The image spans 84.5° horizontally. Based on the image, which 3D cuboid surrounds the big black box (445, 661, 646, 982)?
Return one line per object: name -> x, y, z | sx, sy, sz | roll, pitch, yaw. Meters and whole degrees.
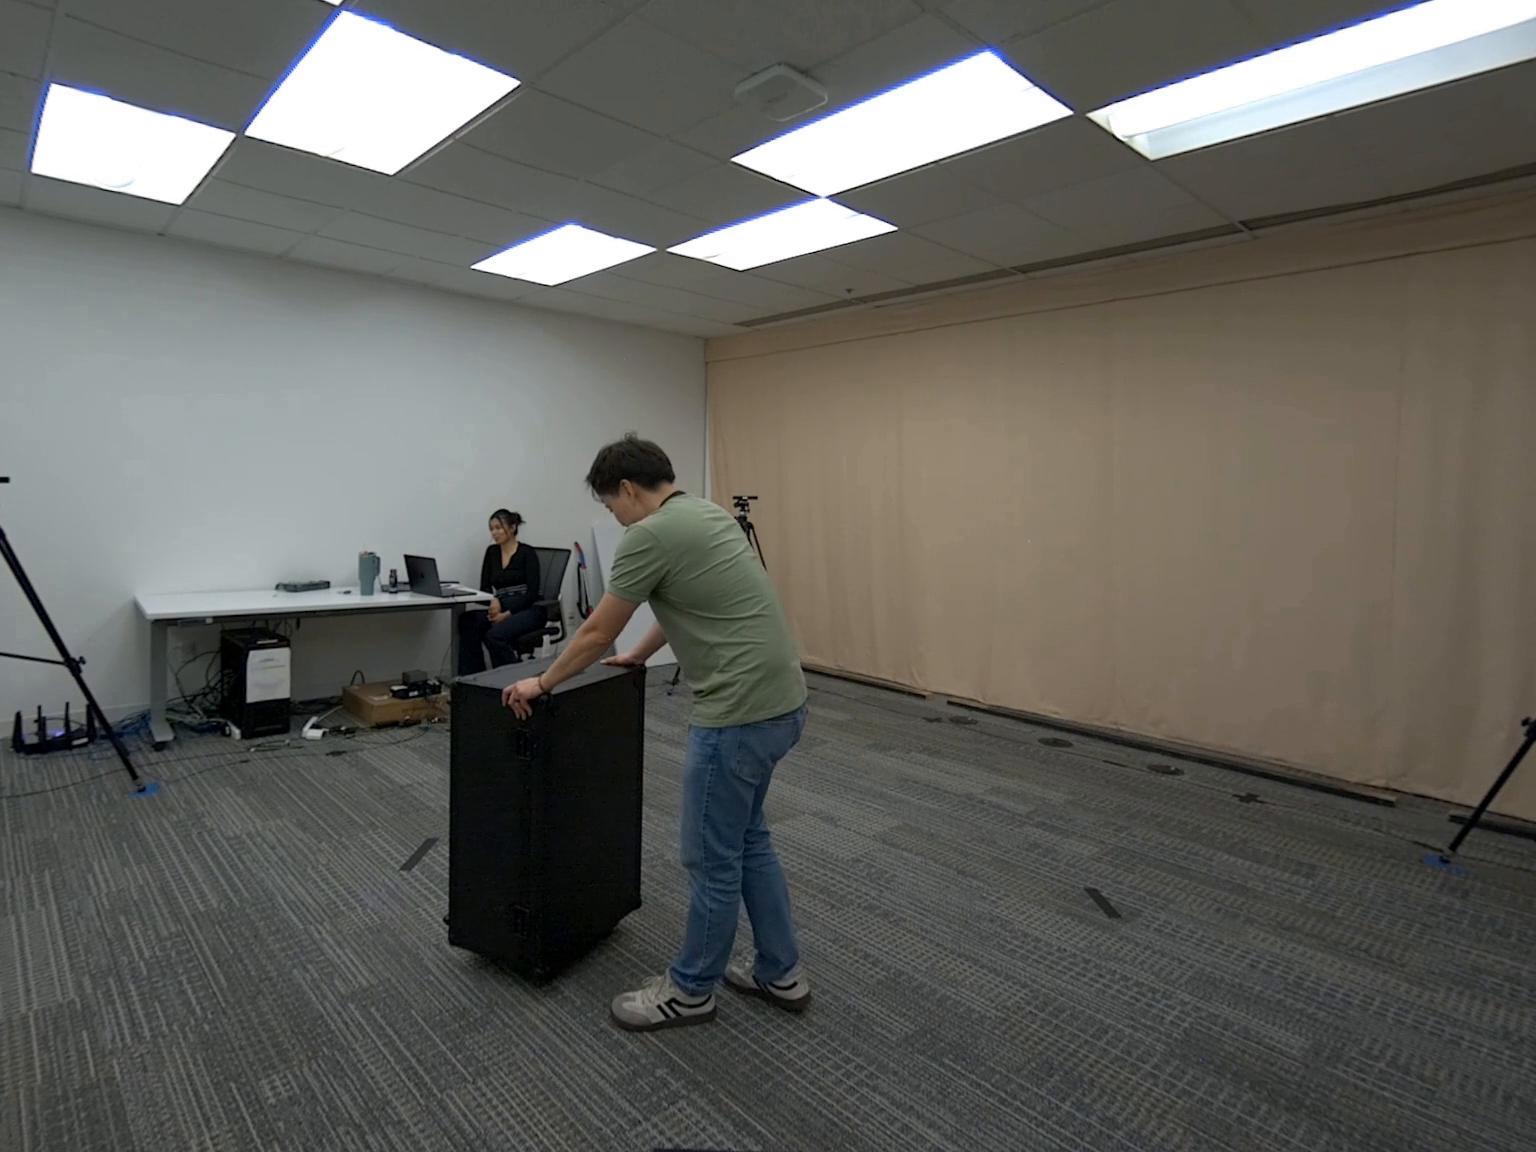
big black box -> -0.677, 0.715, 2.558 | 0.404, 0.859, 0.512 | 2, 4, 28
